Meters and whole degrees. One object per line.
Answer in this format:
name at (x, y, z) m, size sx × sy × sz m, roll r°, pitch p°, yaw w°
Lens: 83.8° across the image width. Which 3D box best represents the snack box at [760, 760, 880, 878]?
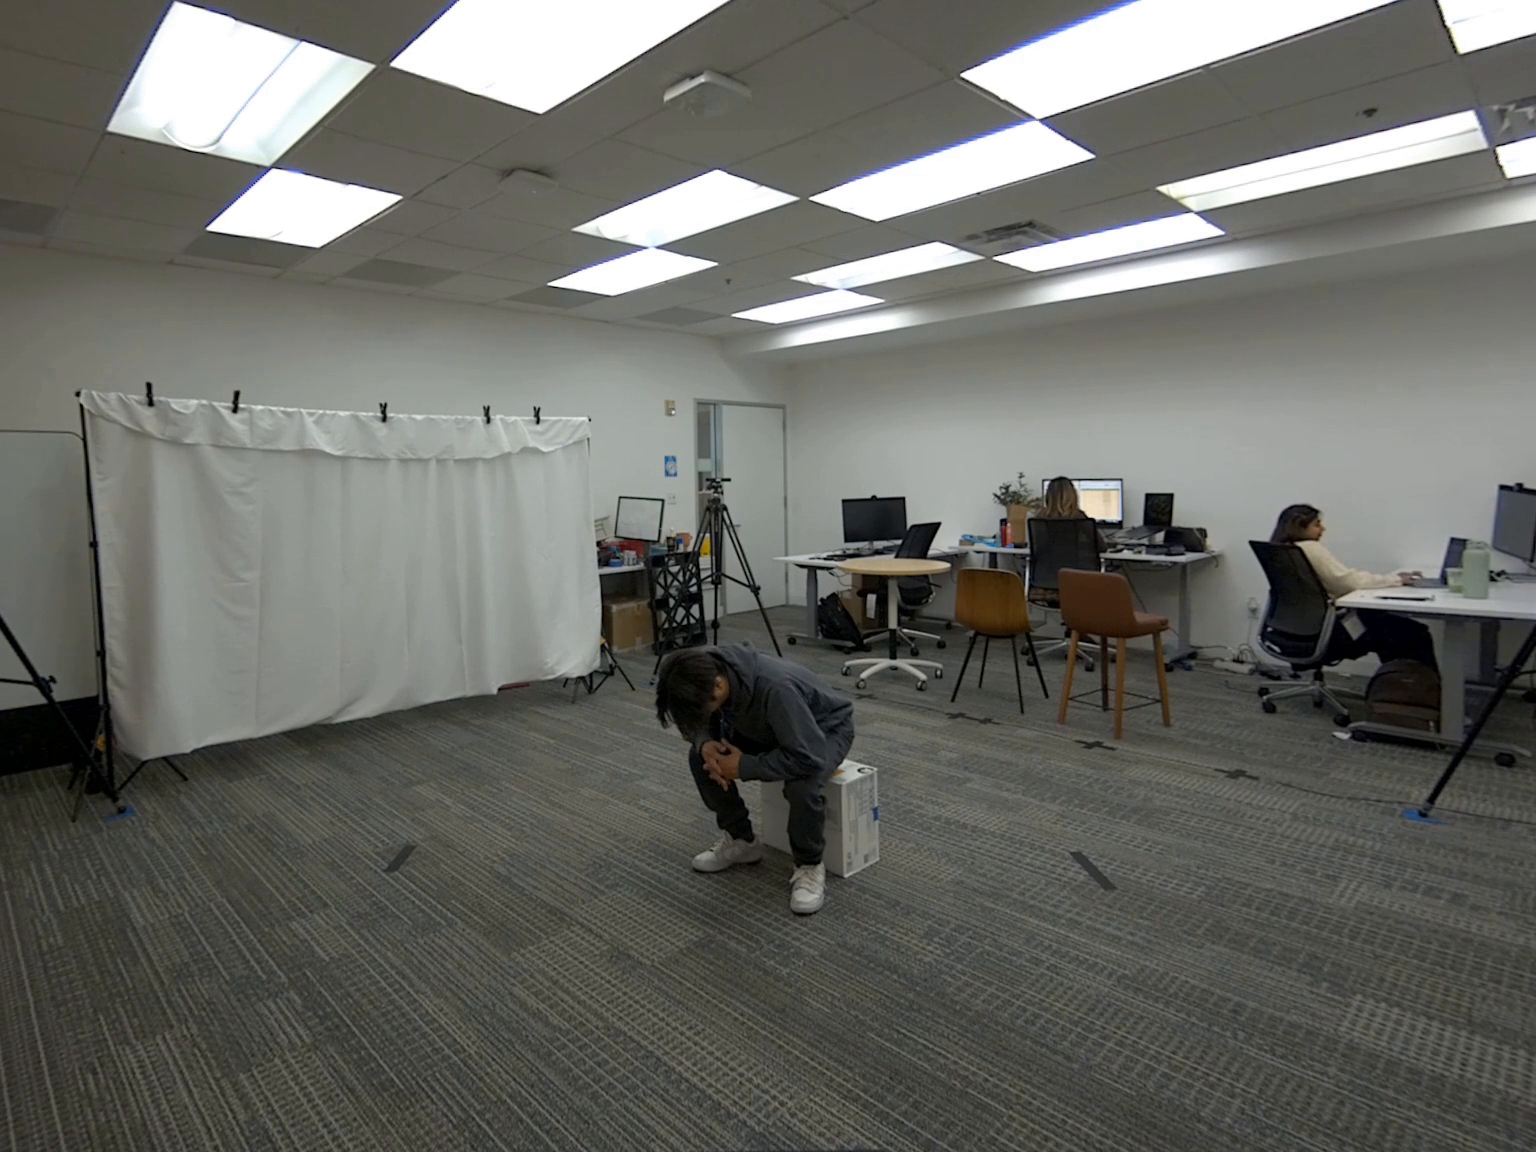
snack box at (0.189, 0.860, 3.178) m, size 0.200 × 0.339 × 0.418 m, roll -7°, pitch 8°, yaw -44°
